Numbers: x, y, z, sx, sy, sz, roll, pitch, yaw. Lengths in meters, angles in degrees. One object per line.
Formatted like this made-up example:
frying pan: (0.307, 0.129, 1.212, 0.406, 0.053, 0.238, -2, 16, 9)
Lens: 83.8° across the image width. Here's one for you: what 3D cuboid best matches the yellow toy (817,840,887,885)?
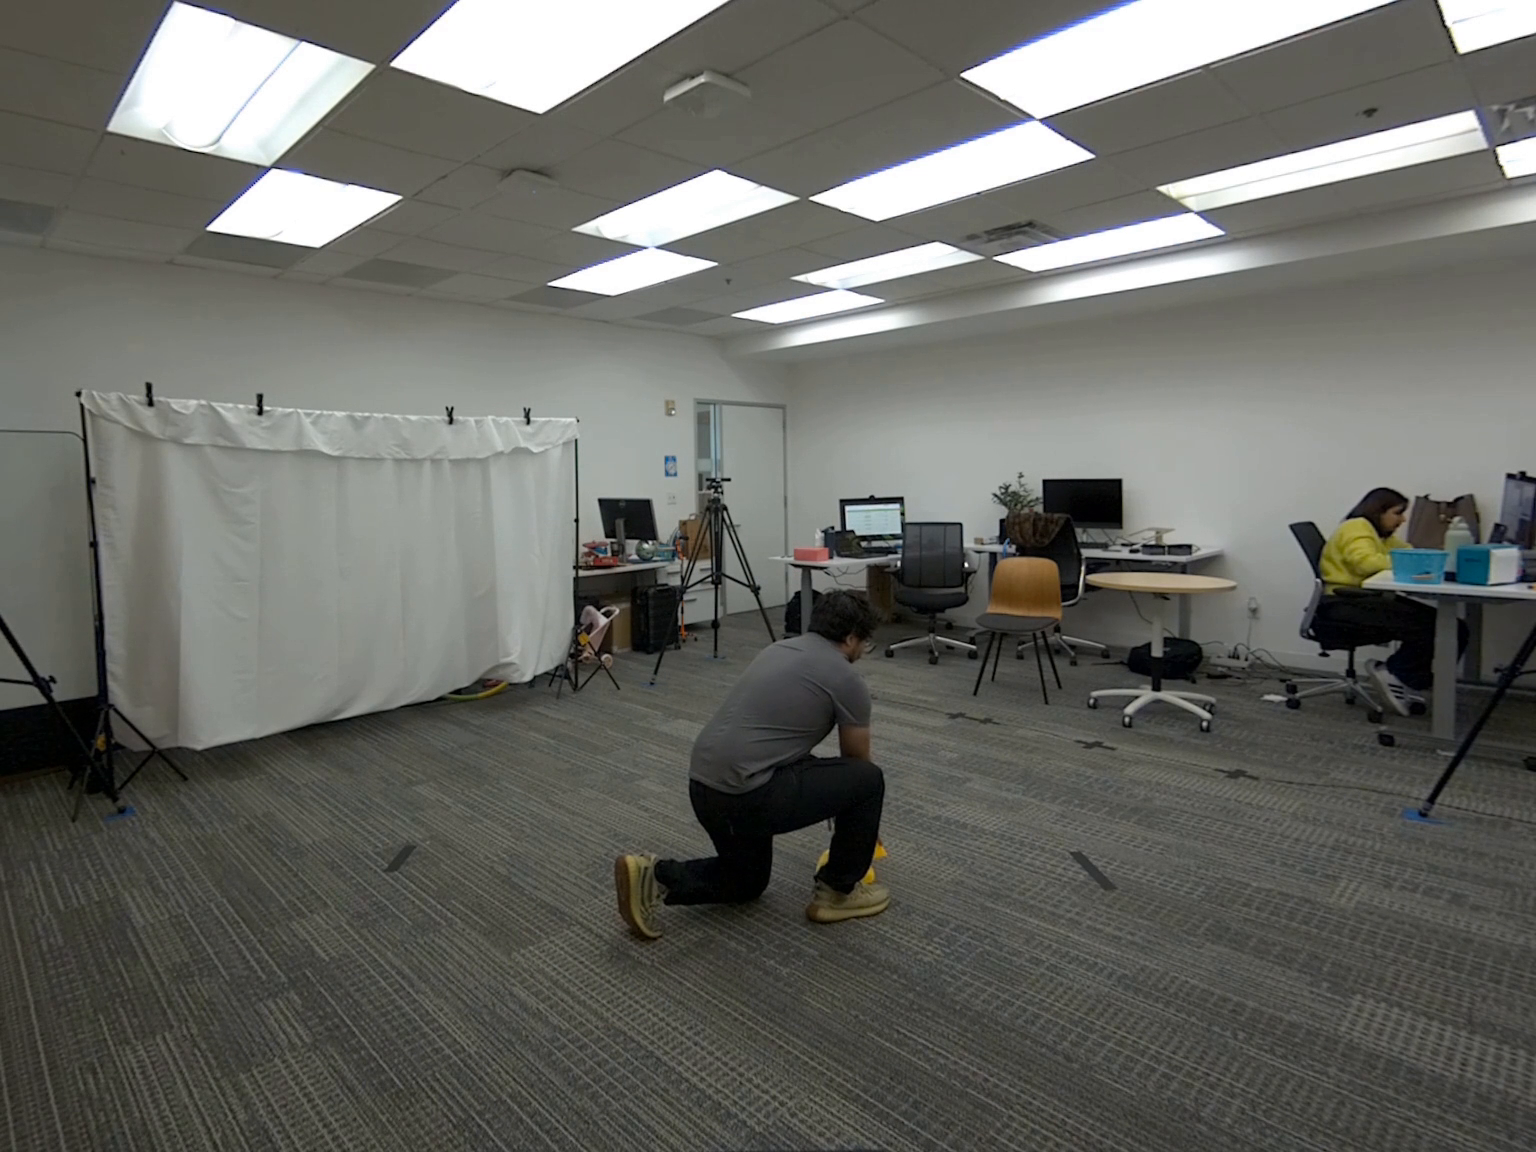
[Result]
yellow toy: (0.288, 0.938, 3.007, 0.188, 0.230, 0.211, -4, 6, -33)
